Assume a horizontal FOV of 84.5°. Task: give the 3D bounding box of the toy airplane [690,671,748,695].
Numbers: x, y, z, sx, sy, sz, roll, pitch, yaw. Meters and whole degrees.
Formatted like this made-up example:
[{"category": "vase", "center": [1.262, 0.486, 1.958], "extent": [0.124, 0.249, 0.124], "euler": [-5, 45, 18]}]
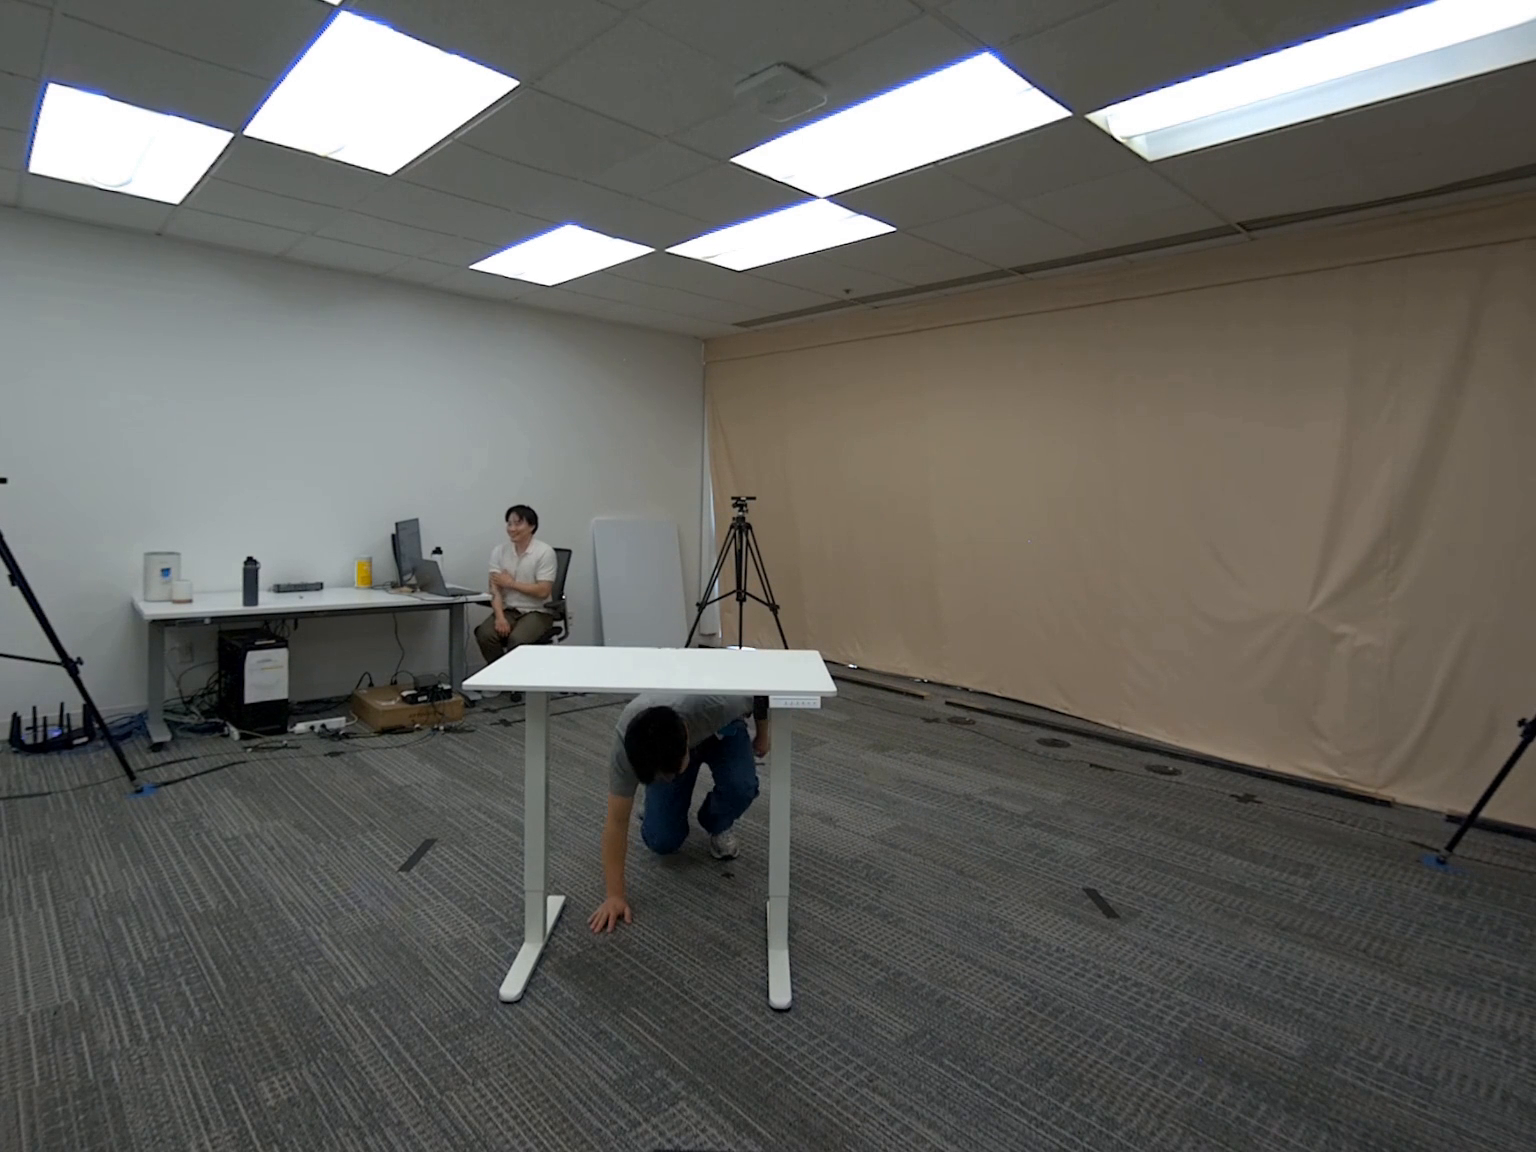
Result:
[{"category": "toy airplane", "center": [-0.180, 0.499, 3.204], "extent": [0.158, 0.261, 0.247], "euler": [-6, -10, 11]}]
